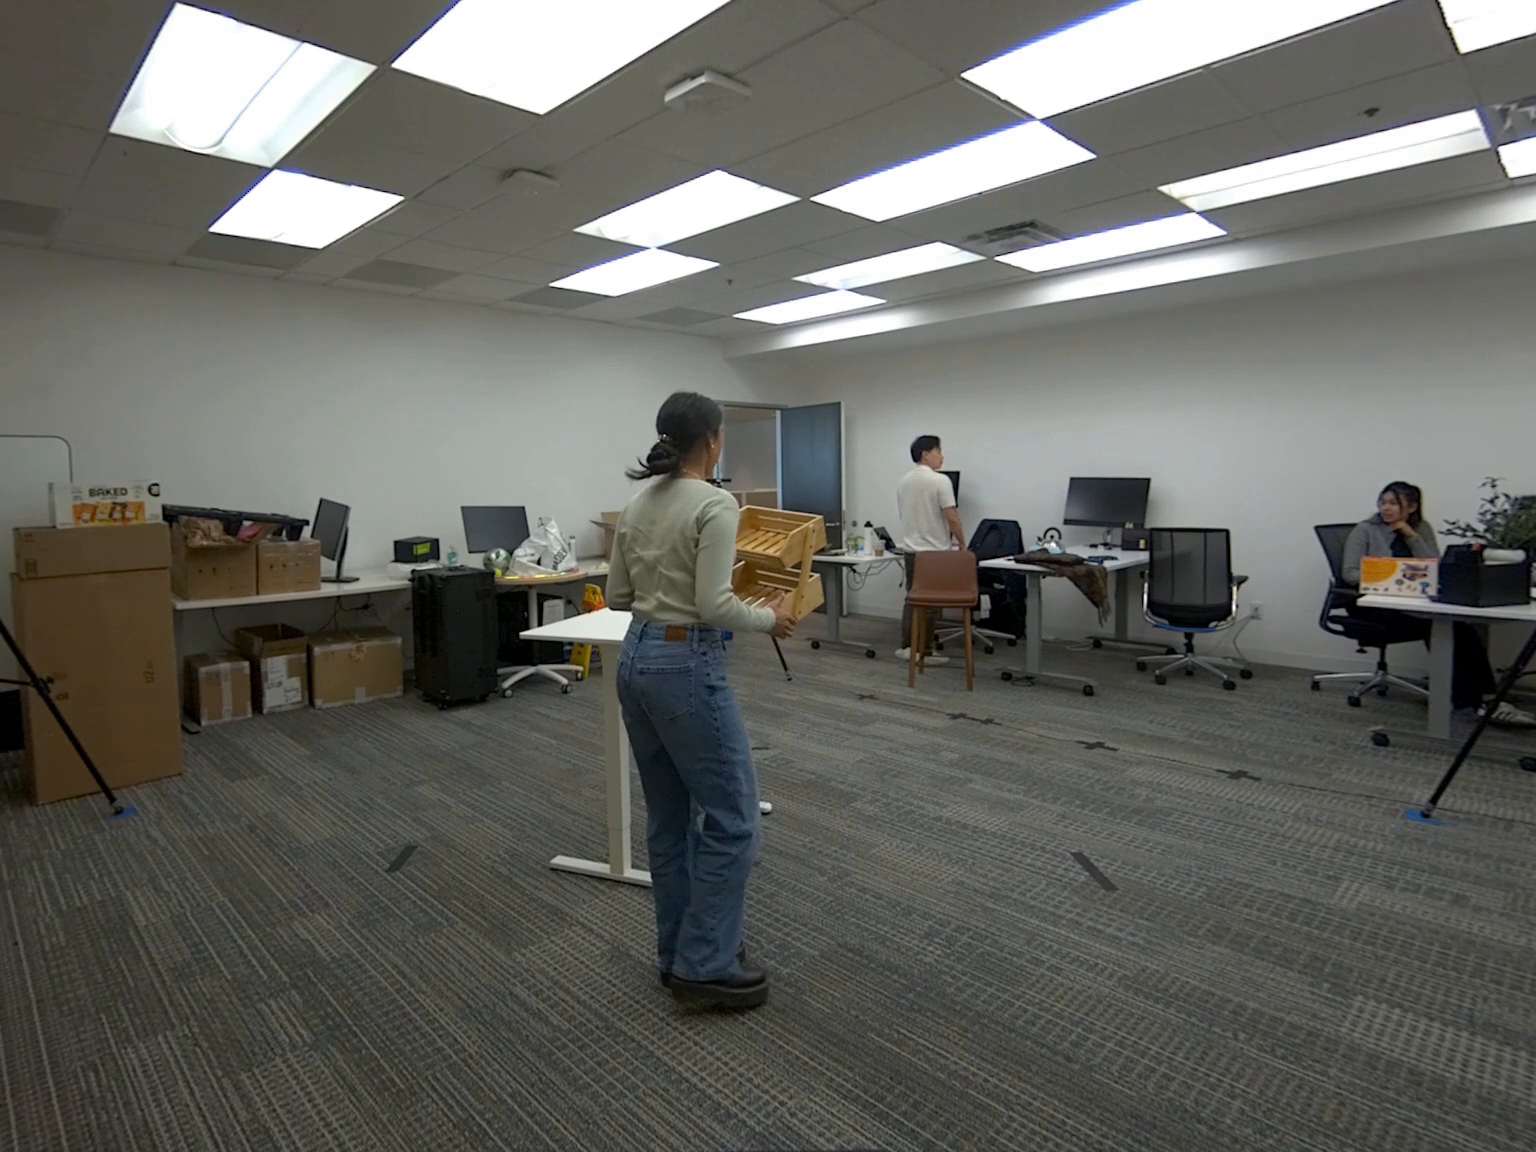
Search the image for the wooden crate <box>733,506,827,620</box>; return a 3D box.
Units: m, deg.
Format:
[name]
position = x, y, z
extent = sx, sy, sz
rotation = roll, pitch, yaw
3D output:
[wooden crate]
position = -0.021, -0.027, 2.560
extent = 0.335, 0.268, 0.298
rotation = 11, 30, 42
